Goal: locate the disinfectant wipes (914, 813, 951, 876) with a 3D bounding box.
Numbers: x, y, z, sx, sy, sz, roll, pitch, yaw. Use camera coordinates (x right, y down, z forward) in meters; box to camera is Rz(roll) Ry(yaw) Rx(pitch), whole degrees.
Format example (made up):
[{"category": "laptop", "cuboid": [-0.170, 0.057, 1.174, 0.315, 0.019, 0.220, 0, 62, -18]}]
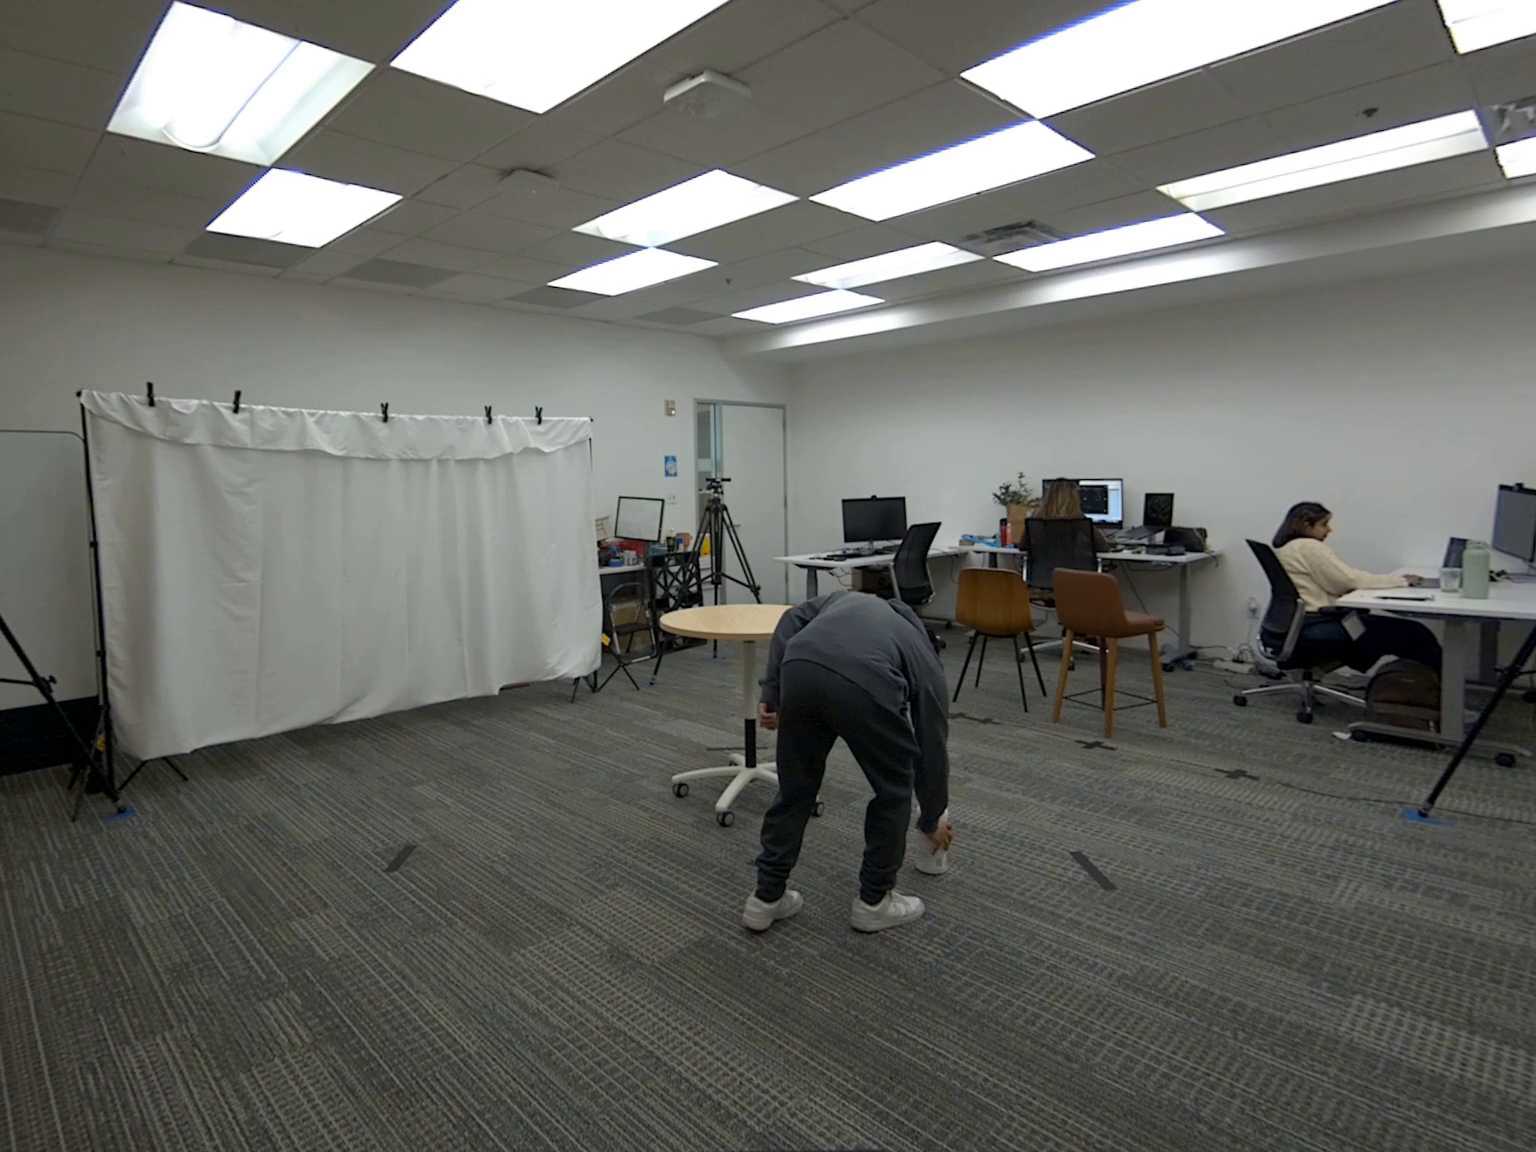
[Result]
[{"category": "disinfectant wipes", "cuboid": [0.591, 0.935, 3.031, 0.118, 0.217, 0.118, 2, 0, -2]}]
